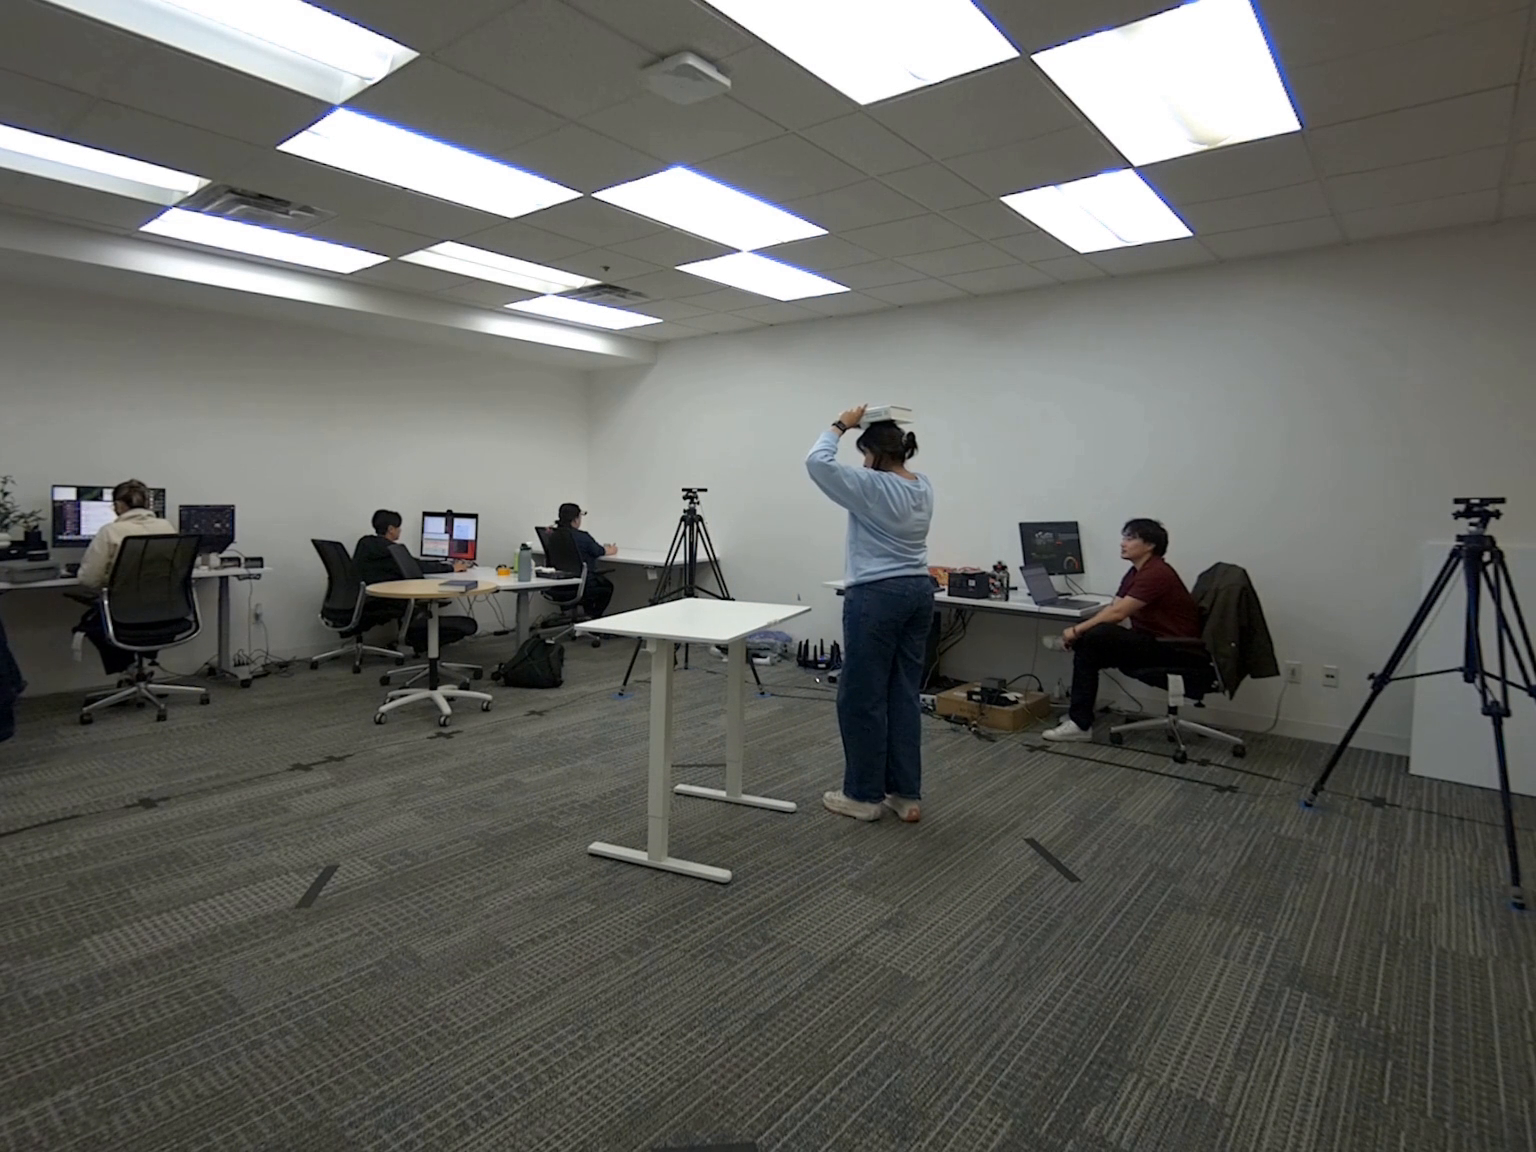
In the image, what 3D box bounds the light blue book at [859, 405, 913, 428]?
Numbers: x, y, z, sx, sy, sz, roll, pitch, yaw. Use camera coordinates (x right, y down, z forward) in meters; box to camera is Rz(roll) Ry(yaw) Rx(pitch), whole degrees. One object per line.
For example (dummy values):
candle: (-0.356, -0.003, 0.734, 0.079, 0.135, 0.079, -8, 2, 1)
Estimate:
light blue book: (0.472, -0.696, 3.724, 0.269, 0.059, 0.185, -1, 2, 41)
